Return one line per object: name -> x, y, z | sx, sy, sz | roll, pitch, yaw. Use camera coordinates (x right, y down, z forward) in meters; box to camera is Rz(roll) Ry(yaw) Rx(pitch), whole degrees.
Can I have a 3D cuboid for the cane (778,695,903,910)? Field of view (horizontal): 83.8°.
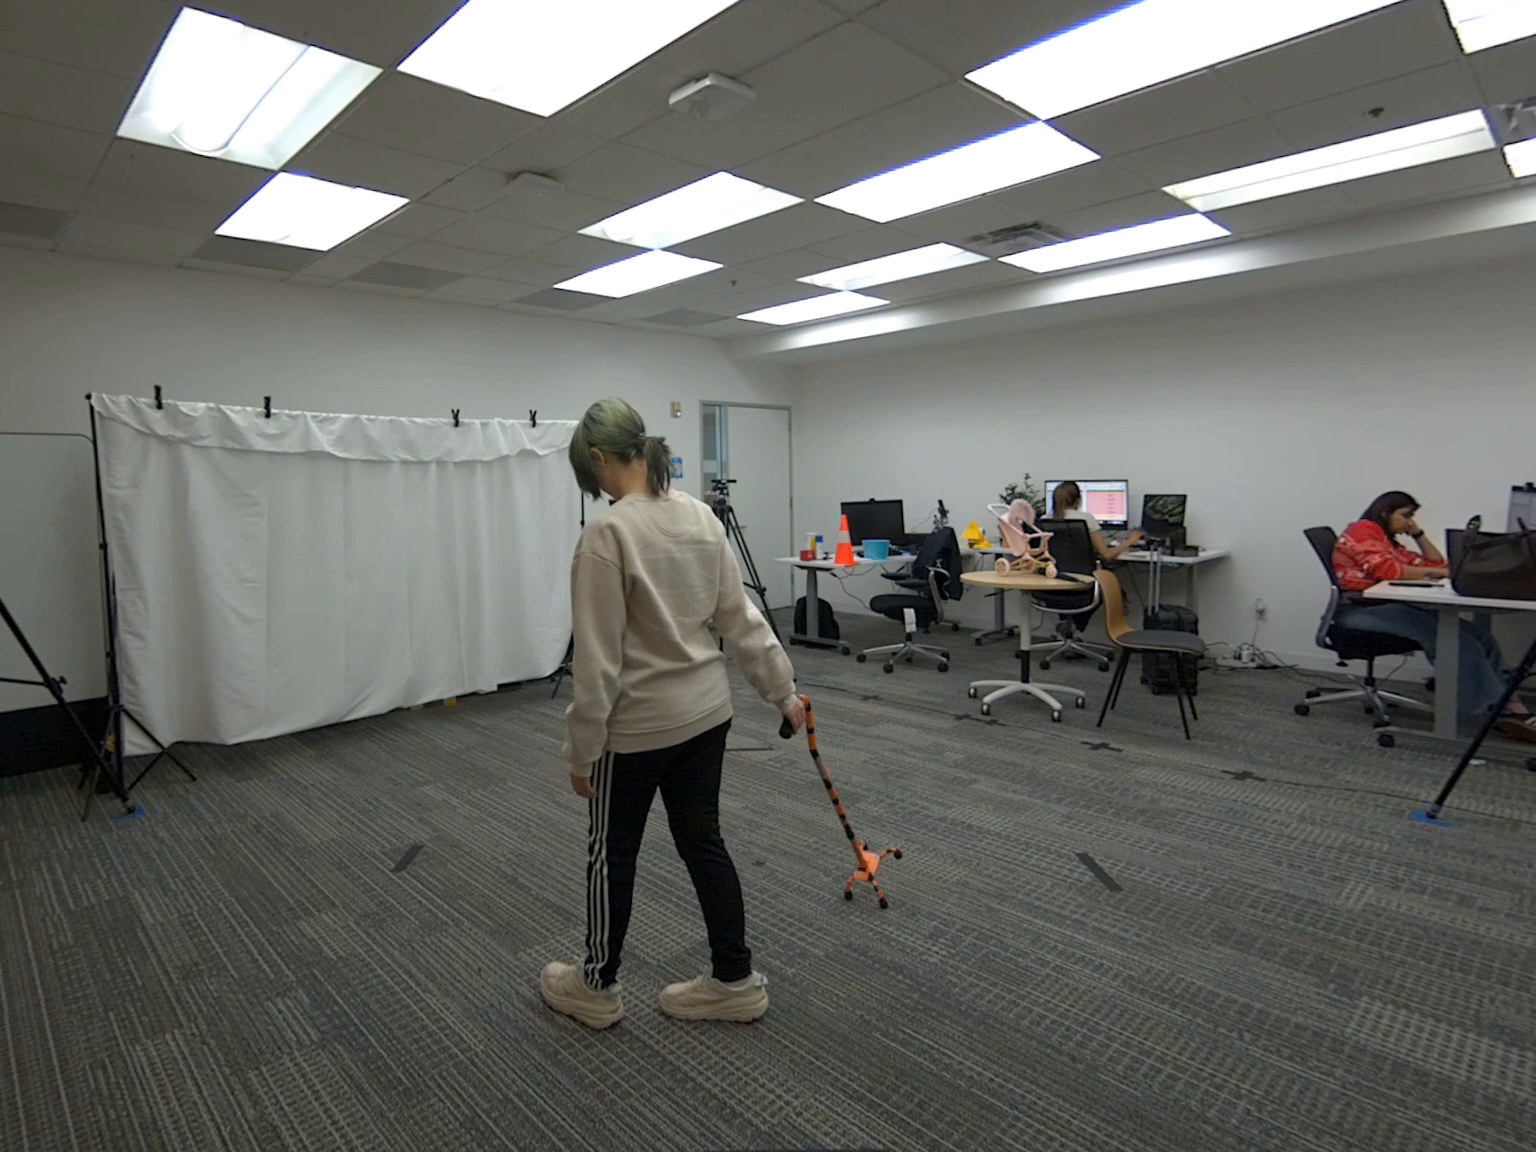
cane -> 0.221, 0.680, 2.607 | 0.155, 0.877, 0.208 | 3, 43, 29
